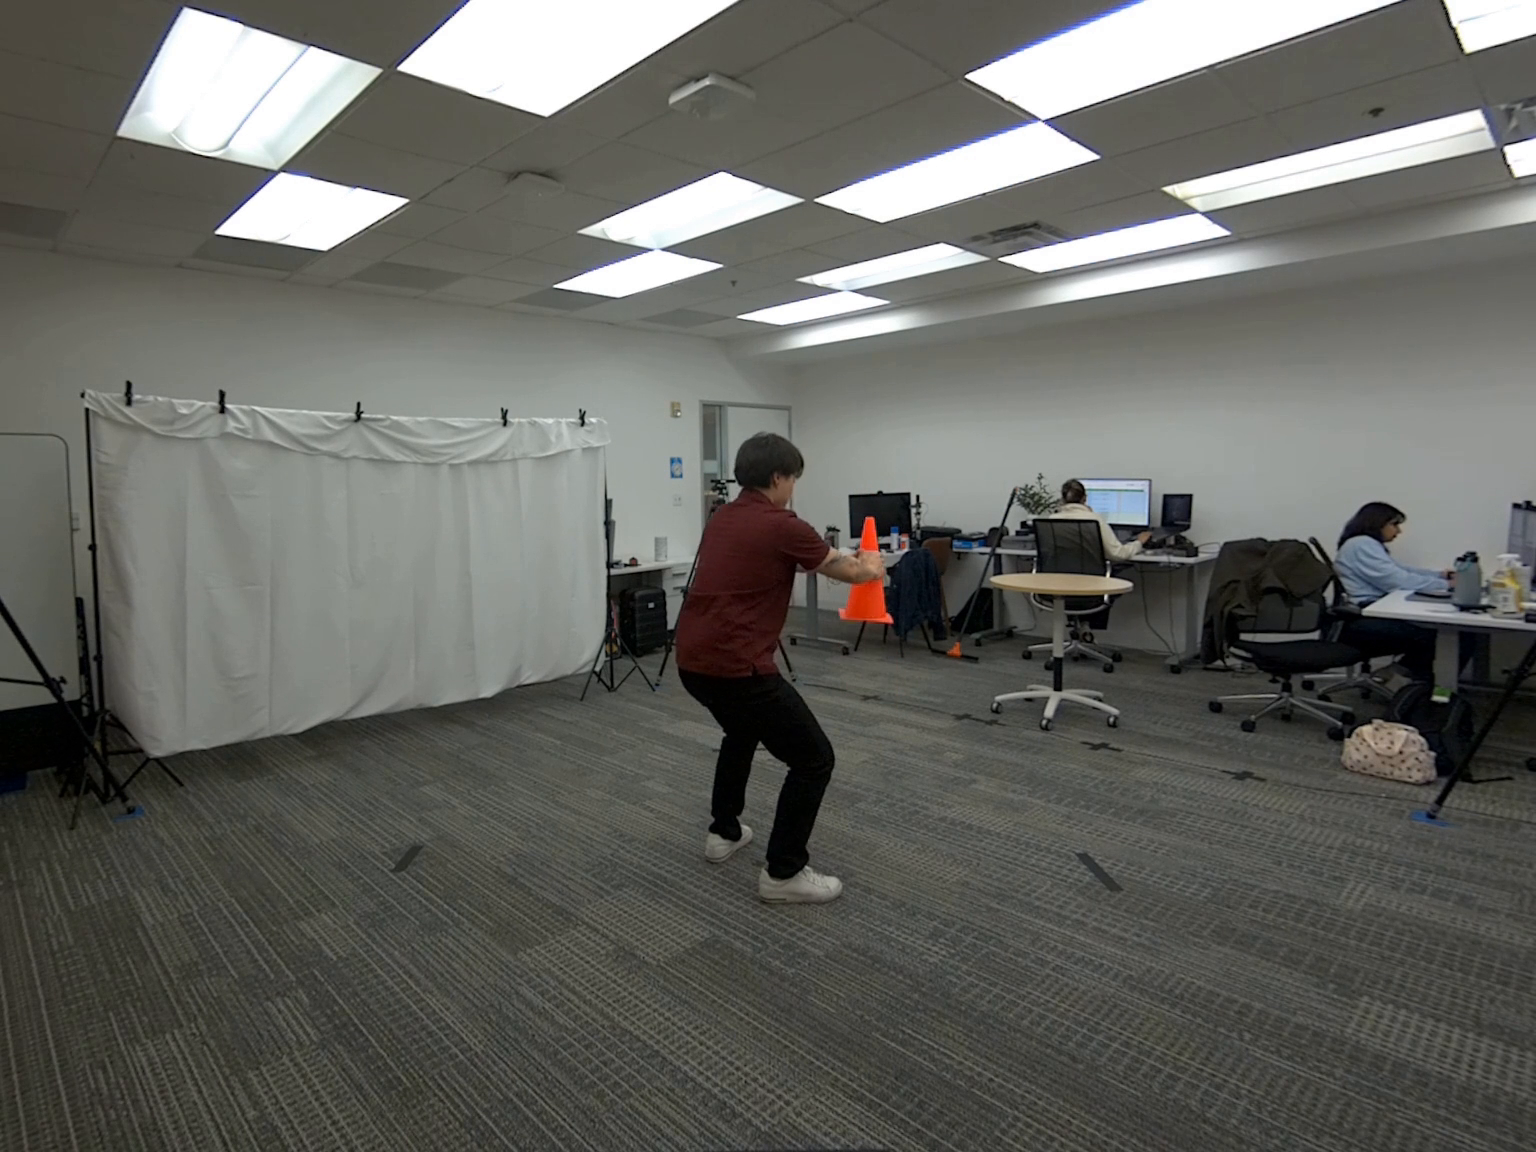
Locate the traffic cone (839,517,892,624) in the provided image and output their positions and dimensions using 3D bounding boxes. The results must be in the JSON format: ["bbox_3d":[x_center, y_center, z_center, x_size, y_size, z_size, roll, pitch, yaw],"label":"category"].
[{"bbox_3d":[0.392,-0.026,3.272,0.205,0.381,0.204,3,8,1],"label":"traffic cone"}]
